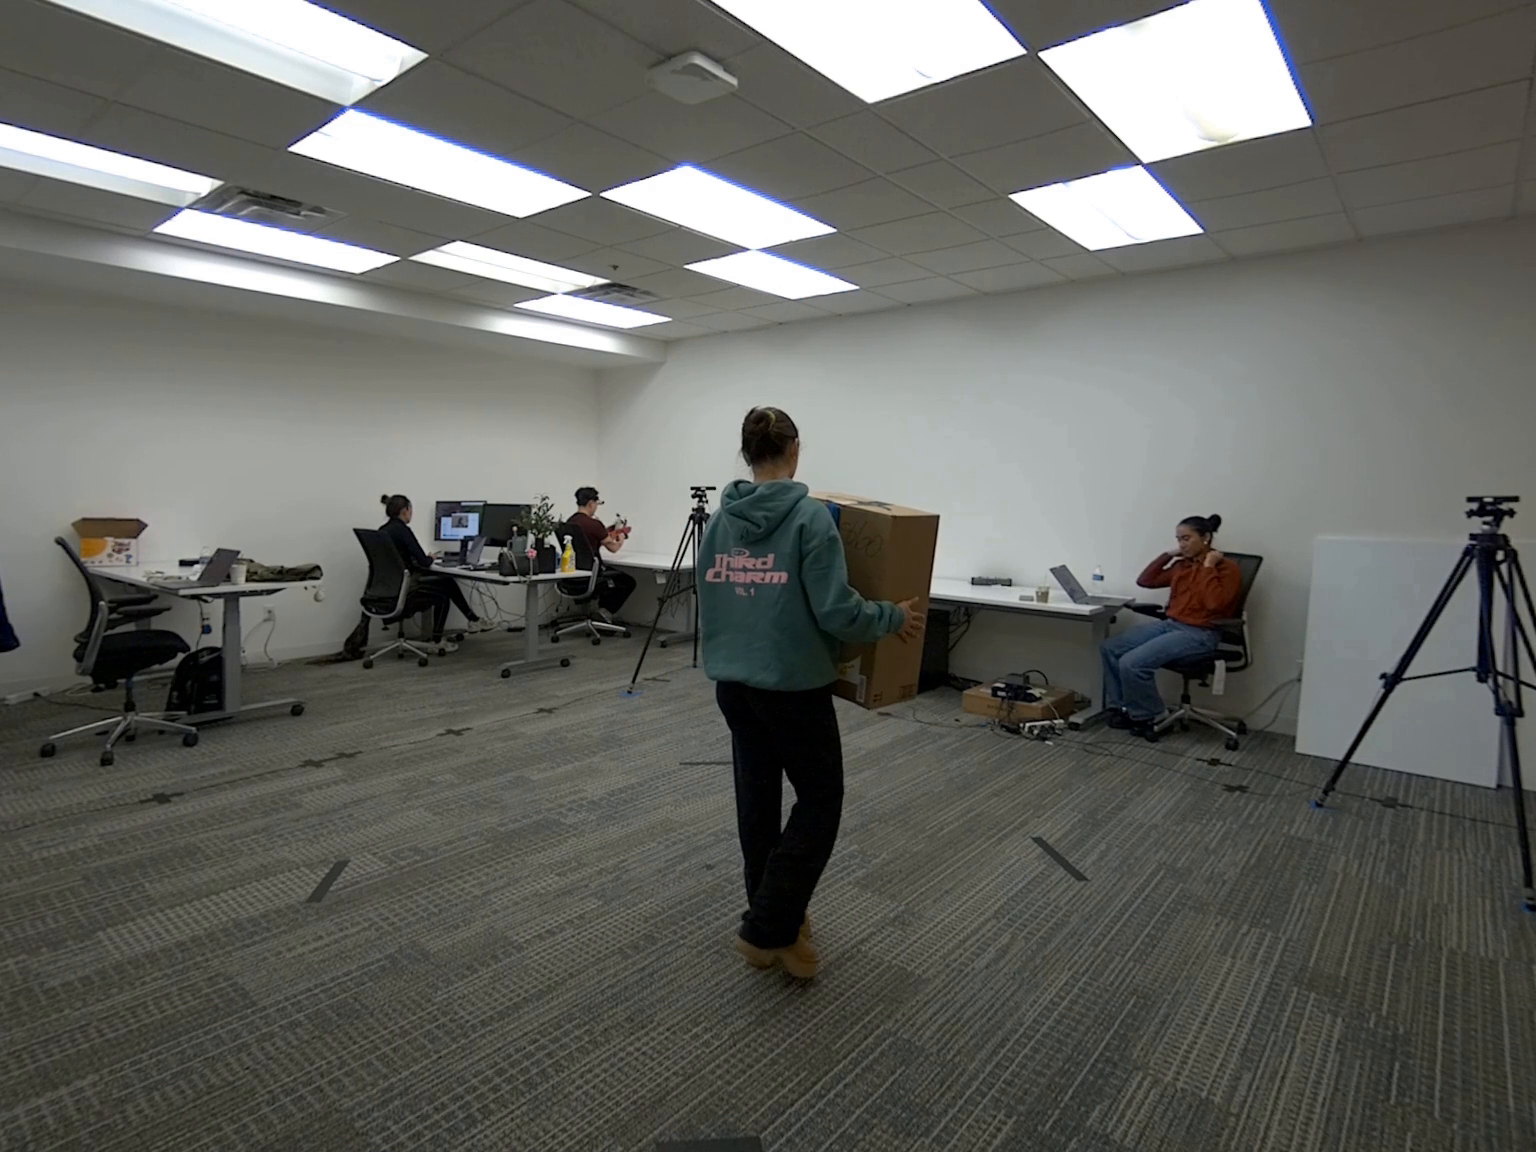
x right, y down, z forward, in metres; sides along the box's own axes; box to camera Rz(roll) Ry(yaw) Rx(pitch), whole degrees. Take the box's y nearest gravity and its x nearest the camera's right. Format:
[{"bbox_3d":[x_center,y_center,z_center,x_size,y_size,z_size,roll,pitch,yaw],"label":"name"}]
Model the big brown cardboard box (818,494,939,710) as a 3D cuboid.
[{"bbox_3d":[0.252,0.059,2.608,0.226,0.584,0.434,-1,12,-40],"label":"big brown cardboard box"}]
